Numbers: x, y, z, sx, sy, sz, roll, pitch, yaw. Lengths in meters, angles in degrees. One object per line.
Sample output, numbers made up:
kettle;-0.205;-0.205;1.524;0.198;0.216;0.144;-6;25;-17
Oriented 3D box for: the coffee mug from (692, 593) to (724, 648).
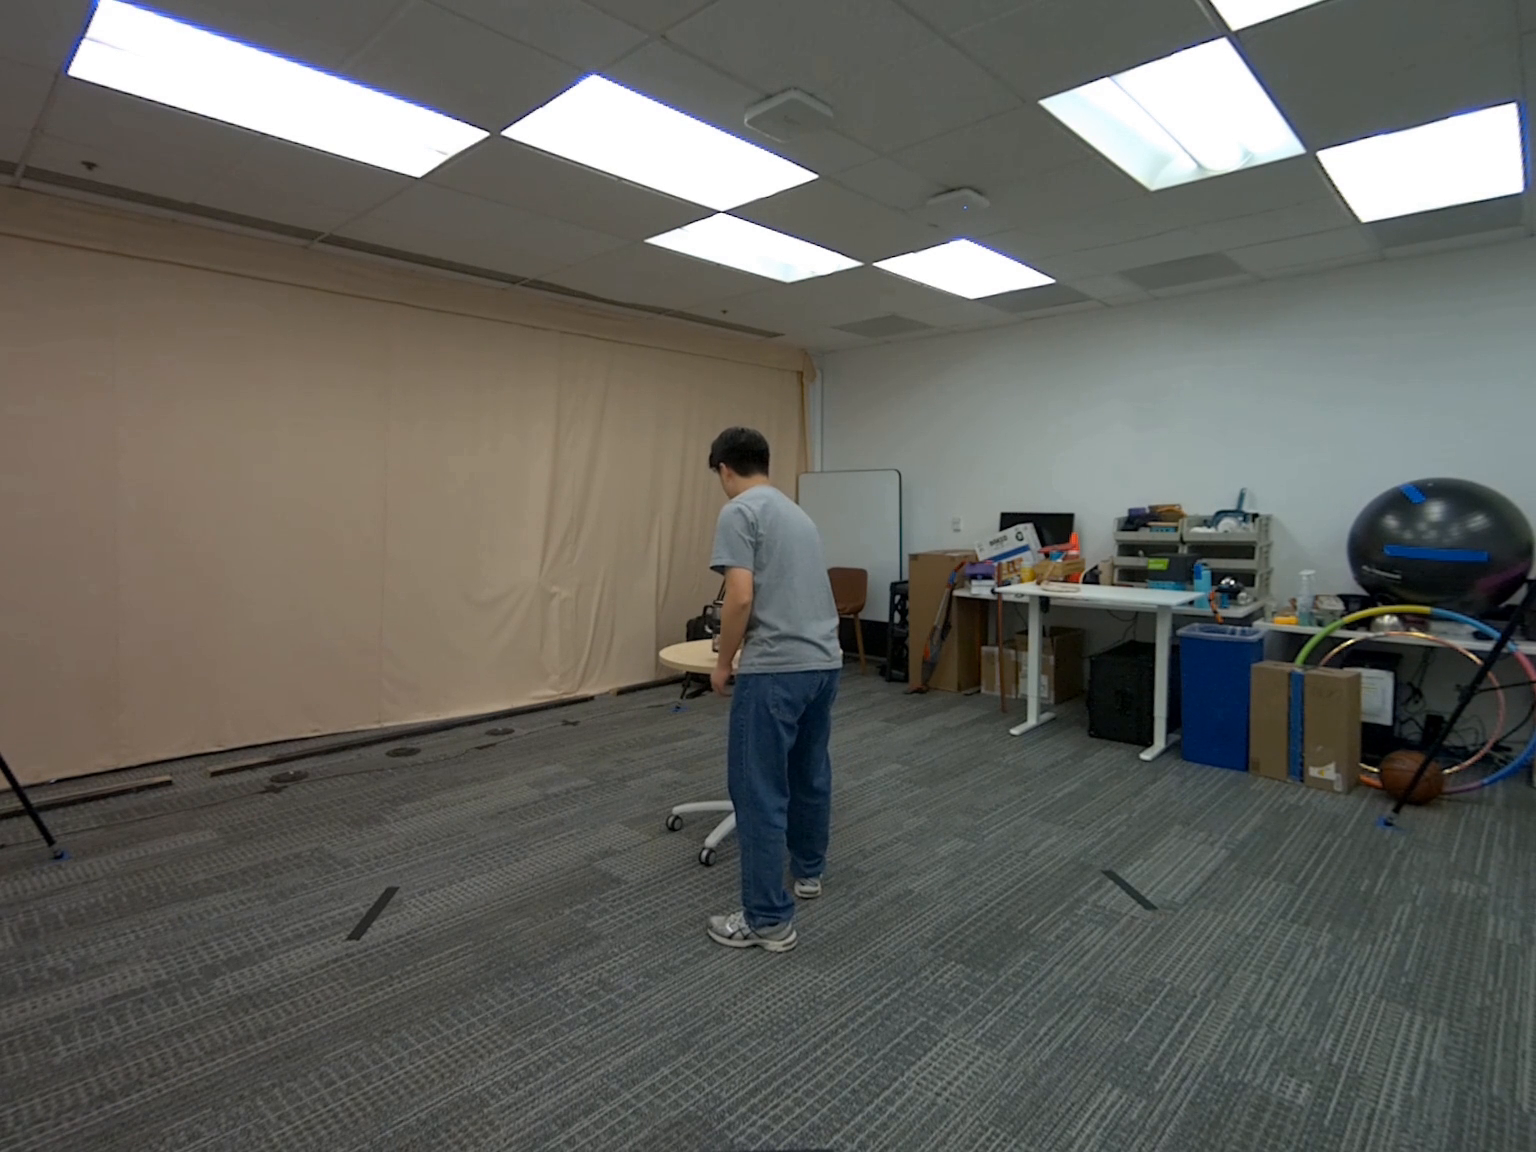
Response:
coffee mug;-0.183;0.205;3.350;0.126;0.202;0.085;9;5;34
